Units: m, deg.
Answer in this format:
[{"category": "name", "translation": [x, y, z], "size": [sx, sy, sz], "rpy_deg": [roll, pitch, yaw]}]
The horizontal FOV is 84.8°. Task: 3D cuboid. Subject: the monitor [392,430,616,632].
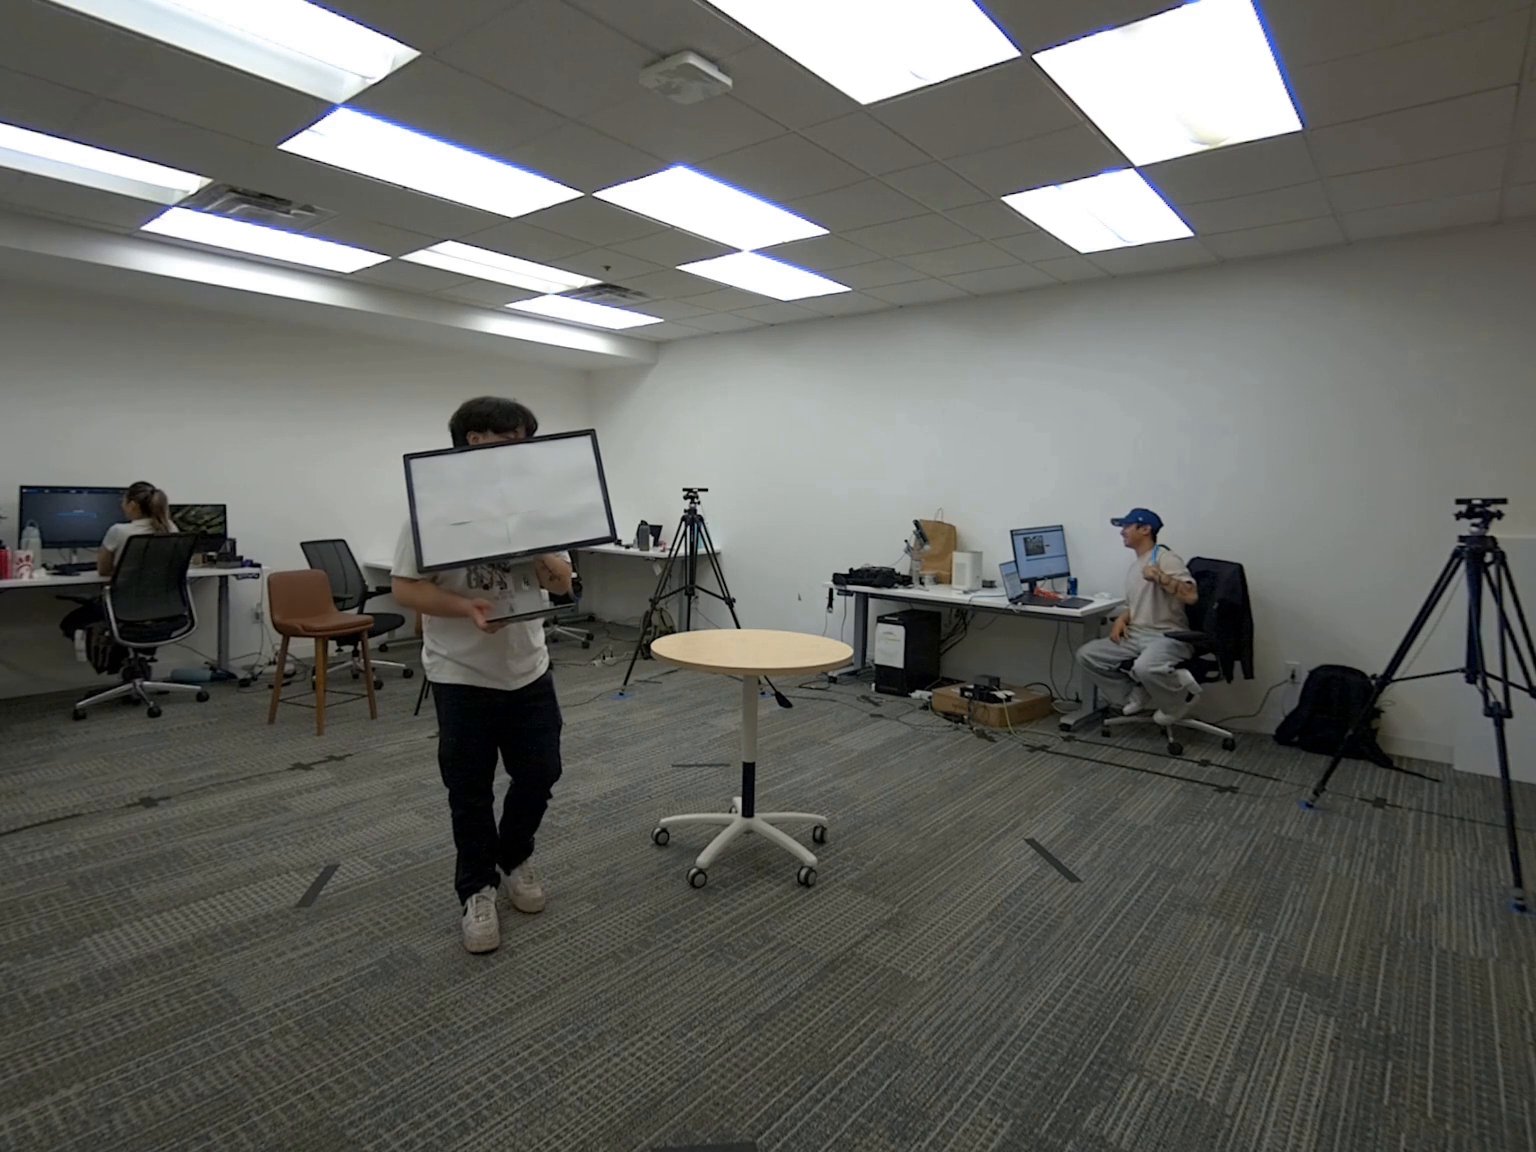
[{"category": "monitor", "translation": [-0.757, -0.132, 2.510], "size": [0.559, 0.561, 0.210], "rpy_deg": [-10, -11, -13]}]
